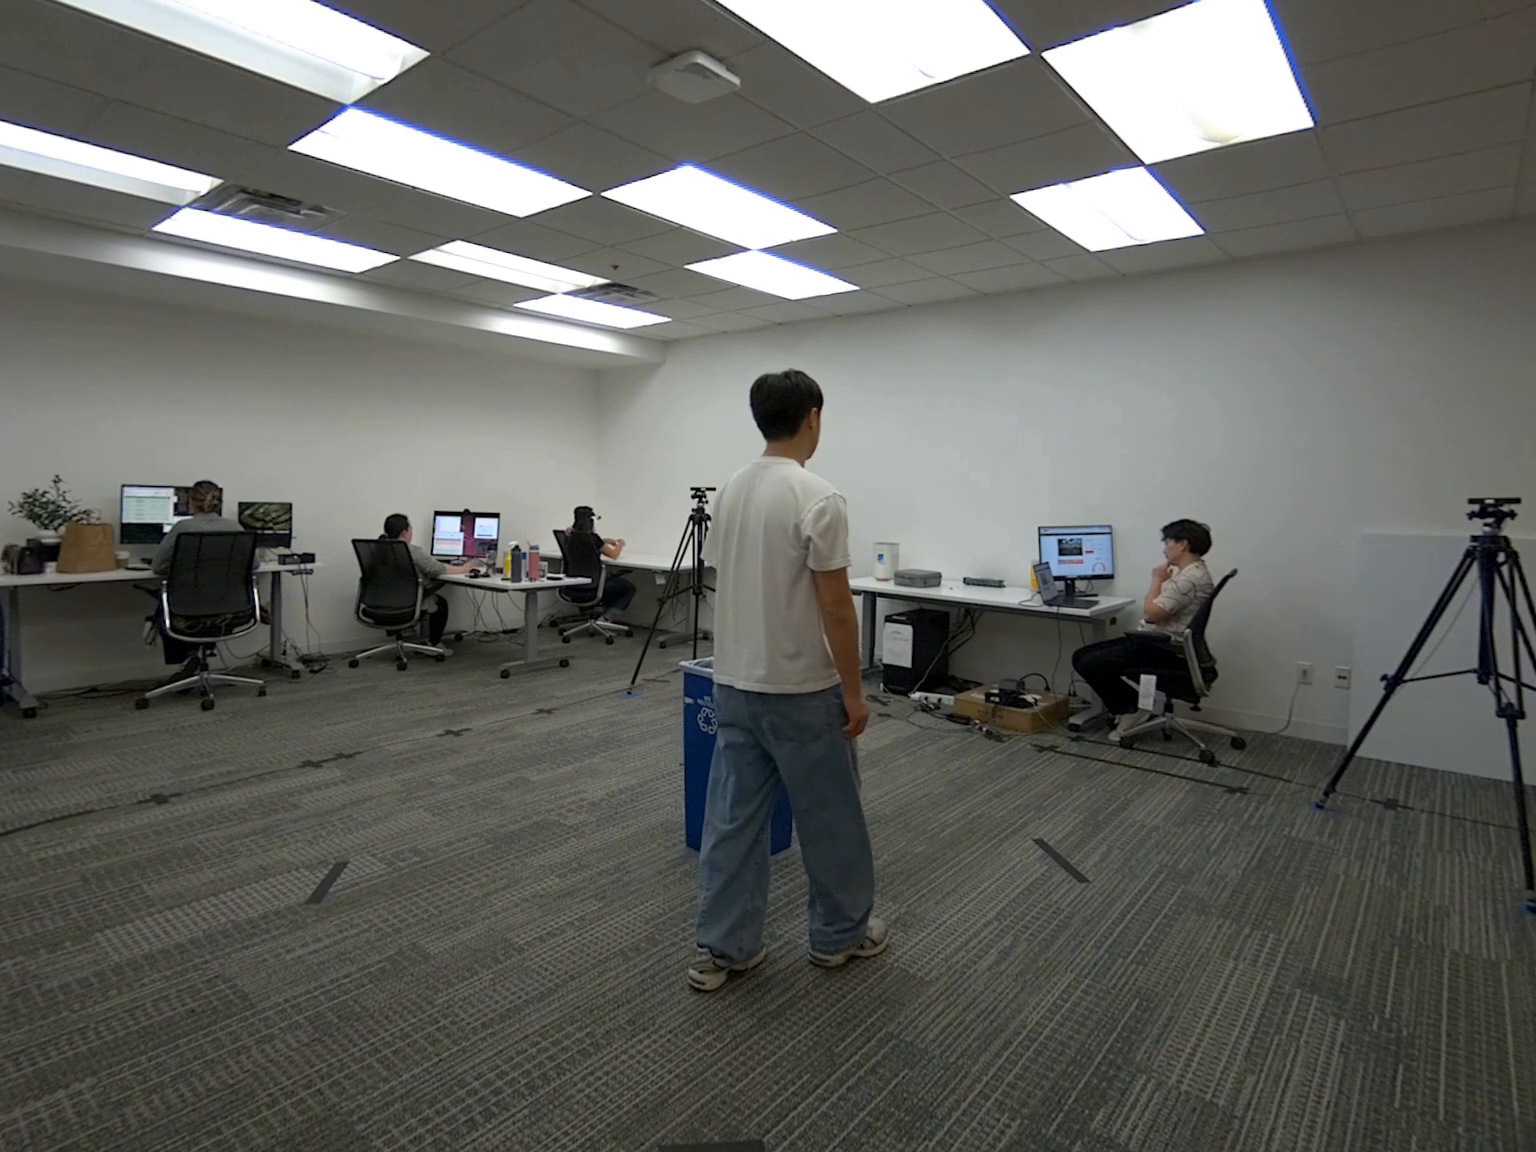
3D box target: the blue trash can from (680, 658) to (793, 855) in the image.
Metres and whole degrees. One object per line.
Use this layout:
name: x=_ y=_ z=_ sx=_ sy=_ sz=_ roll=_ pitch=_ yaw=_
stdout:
blue trash can: x=-0.109 y=0.689 z=3.293 sx=0.386 sy=0.711 sz=0.367 roll=4 pitch=4 yaw=40
